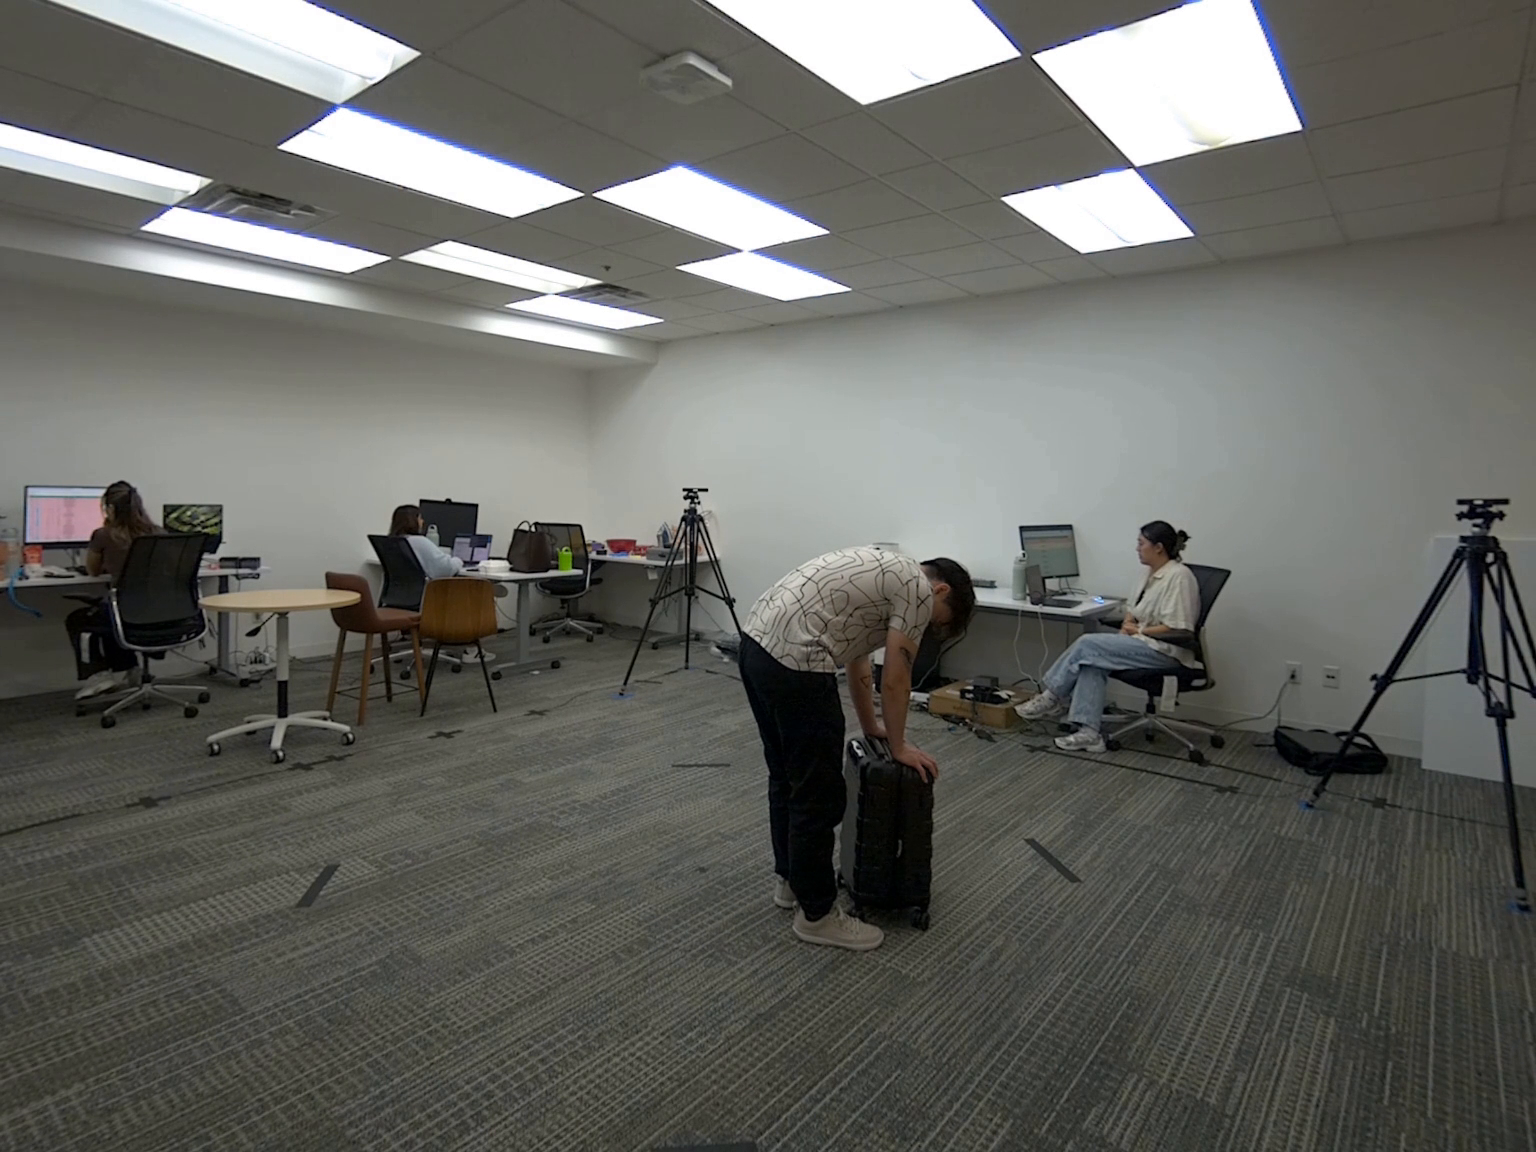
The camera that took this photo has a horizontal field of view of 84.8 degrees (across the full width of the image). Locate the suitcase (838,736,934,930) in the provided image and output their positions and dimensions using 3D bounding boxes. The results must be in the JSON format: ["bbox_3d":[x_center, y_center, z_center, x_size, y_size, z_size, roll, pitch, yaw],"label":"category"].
[{"bbox_3d":[0.395,0.833,2.877,0.248,0.548,0.376,4,2,-2],"label":"suitcase"}]
